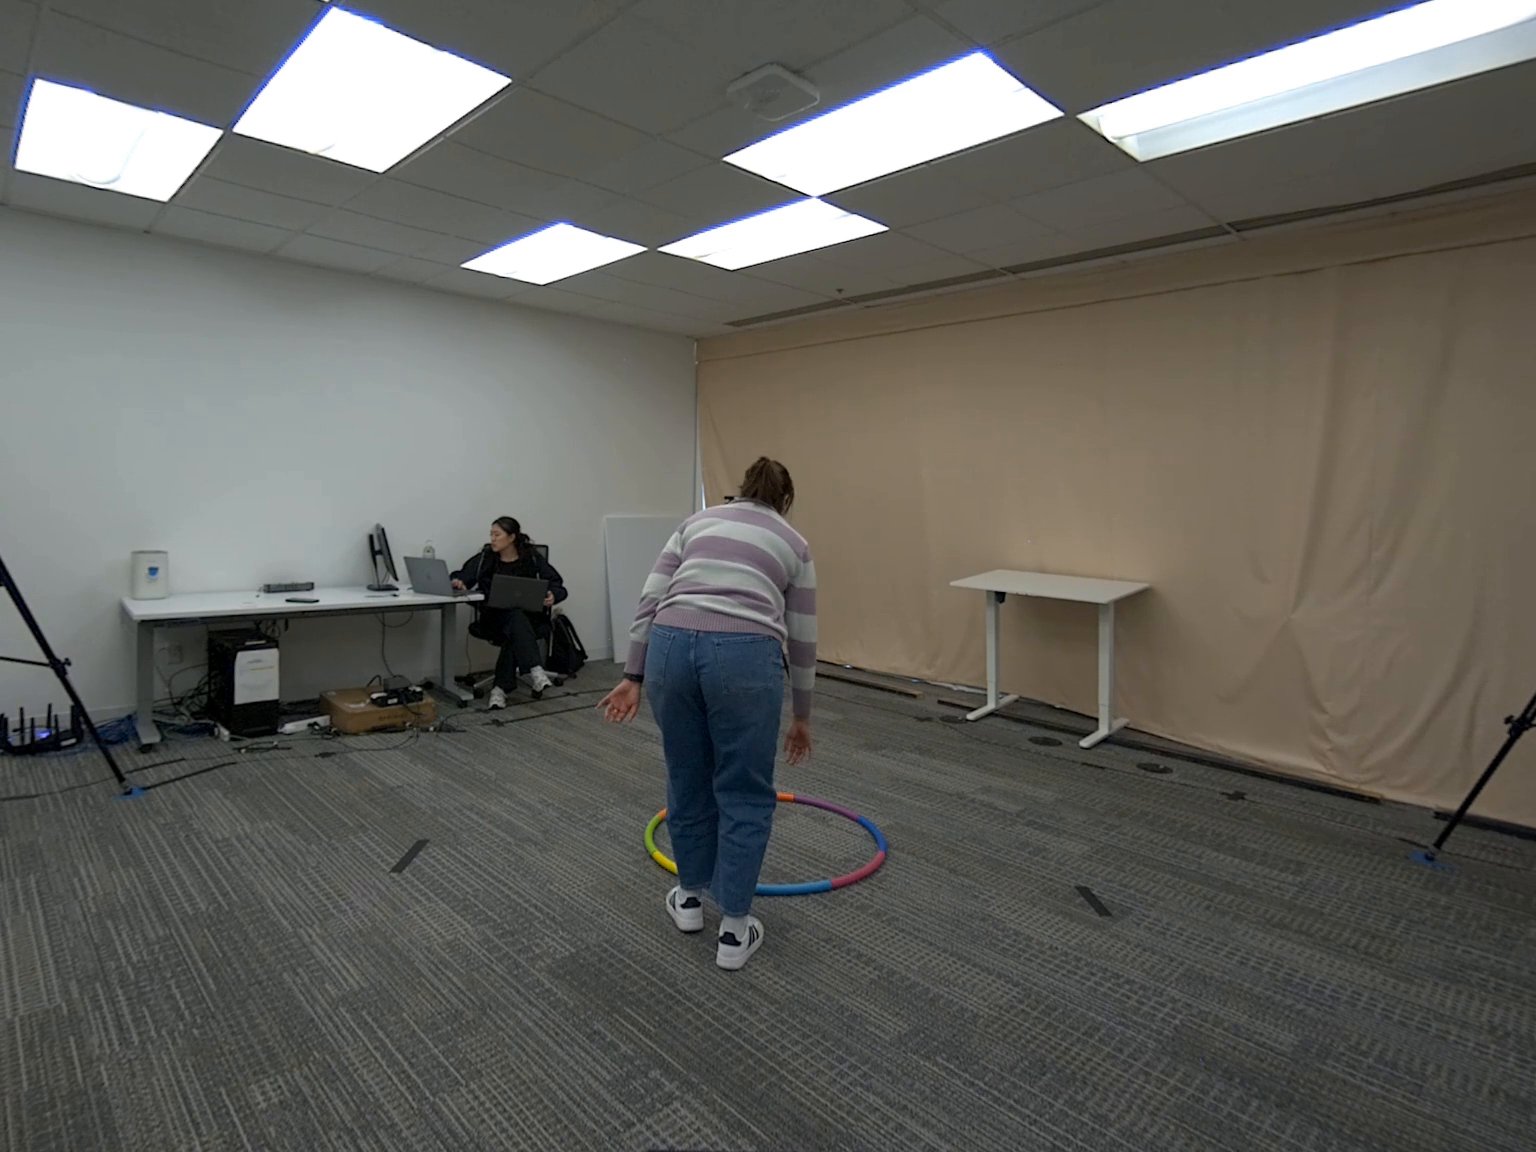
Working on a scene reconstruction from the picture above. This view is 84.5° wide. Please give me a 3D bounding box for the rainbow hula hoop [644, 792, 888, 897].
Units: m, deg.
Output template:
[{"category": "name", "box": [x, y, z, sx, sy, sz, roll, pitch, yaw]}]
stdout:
[{"category": "rainbow hula hoop", "box": [-0.025, 1.045, 3.428, 0.978, 0.035, 0.982, 2, 5, -1]}]
